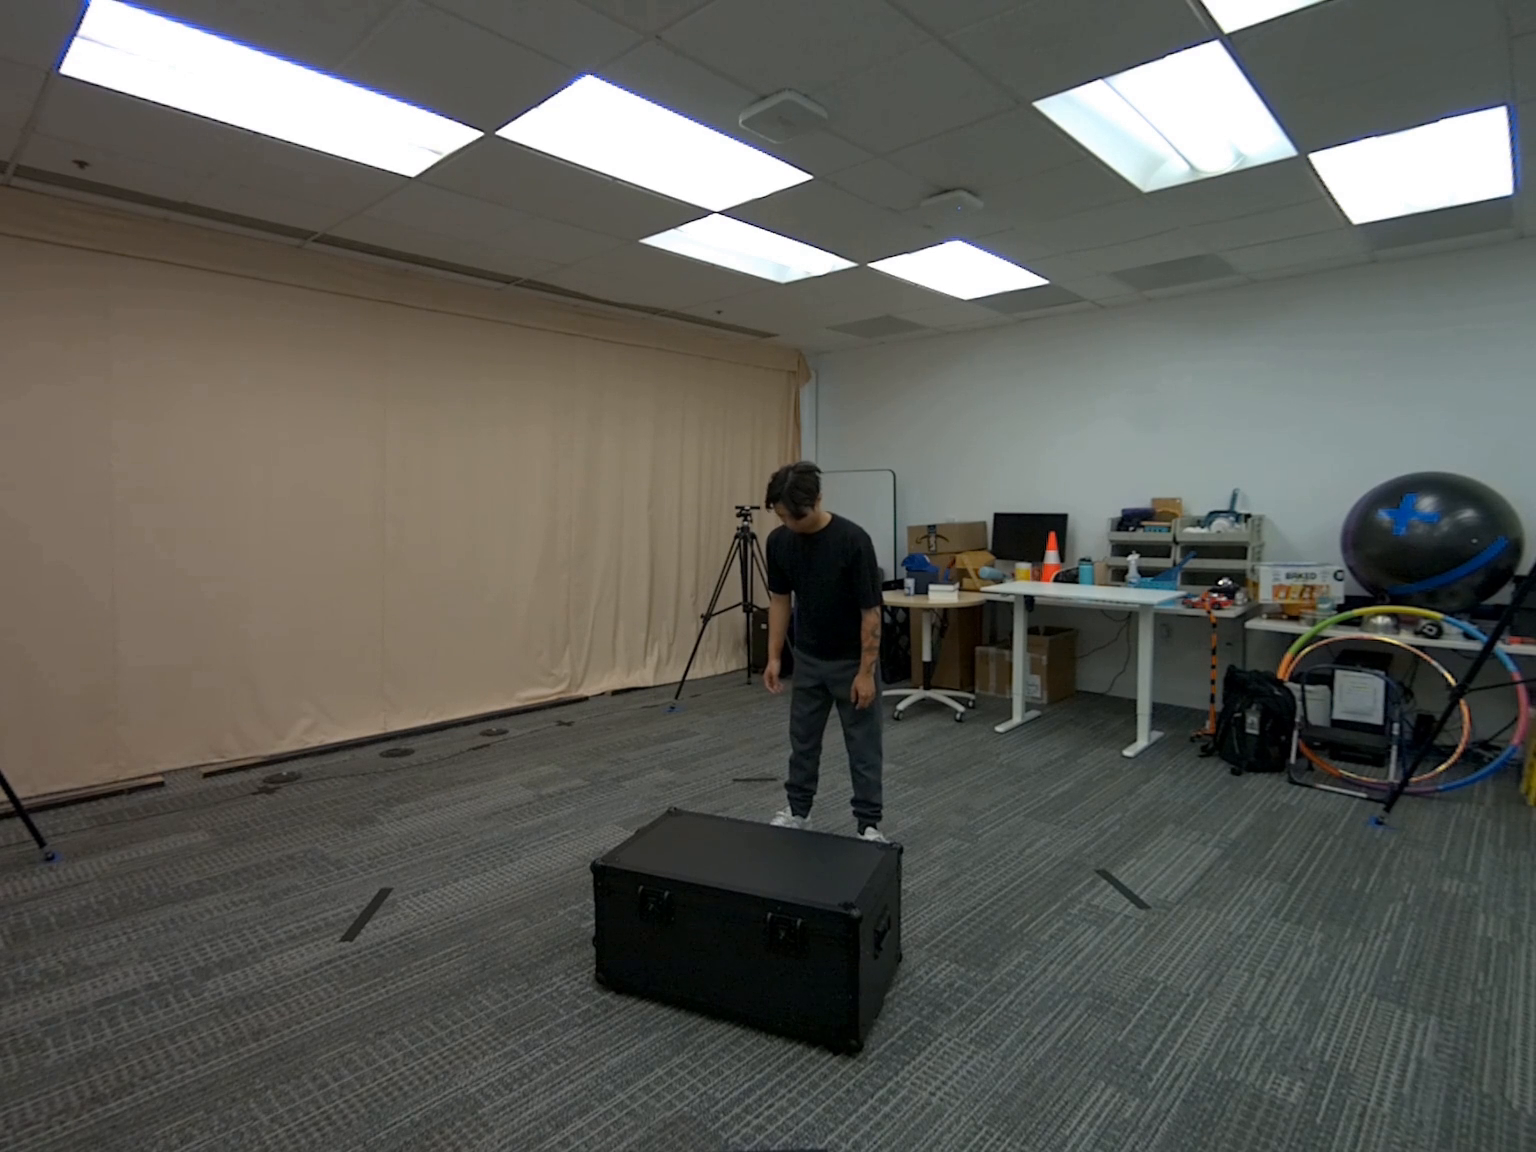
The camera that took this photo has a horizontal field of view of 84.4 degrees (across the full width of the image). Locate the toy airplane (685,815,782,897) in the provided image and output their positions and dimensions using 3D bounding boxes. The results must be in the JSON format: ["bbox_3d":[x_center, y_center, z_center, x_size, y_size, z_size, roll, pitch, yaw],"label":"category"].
[{"bbox_3d":[-0.134,1.046,3.193,0.243,0.156,0.268,-5,7,-44],"label":"toy airplane"}]
